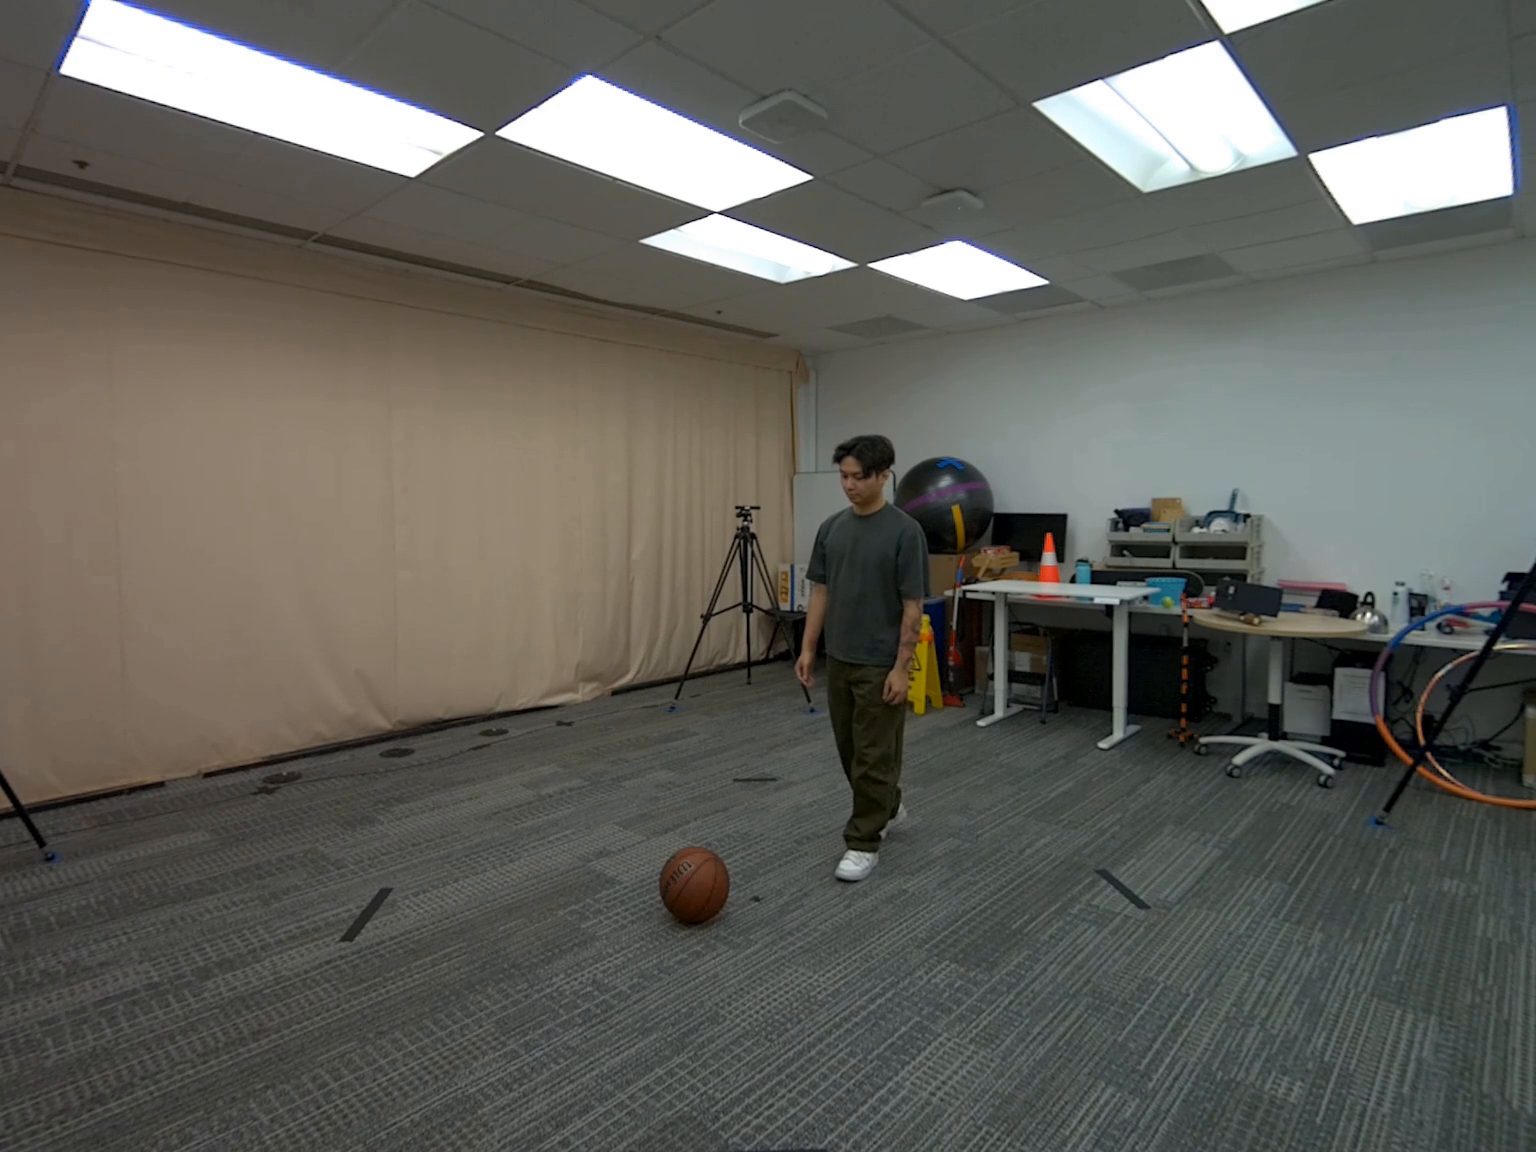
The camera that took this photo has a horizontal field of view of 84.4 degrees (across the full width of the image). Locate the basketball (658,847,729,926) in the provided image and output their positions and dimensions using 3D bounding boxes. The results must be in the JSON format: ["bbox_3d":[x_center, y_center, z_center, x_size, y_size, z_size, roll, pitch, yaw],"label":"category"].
[{"bbox_3d":[-0.245,1.033,2.838,0.236,0.235,0.237,0,4,-2],"label":"basketball"}]
